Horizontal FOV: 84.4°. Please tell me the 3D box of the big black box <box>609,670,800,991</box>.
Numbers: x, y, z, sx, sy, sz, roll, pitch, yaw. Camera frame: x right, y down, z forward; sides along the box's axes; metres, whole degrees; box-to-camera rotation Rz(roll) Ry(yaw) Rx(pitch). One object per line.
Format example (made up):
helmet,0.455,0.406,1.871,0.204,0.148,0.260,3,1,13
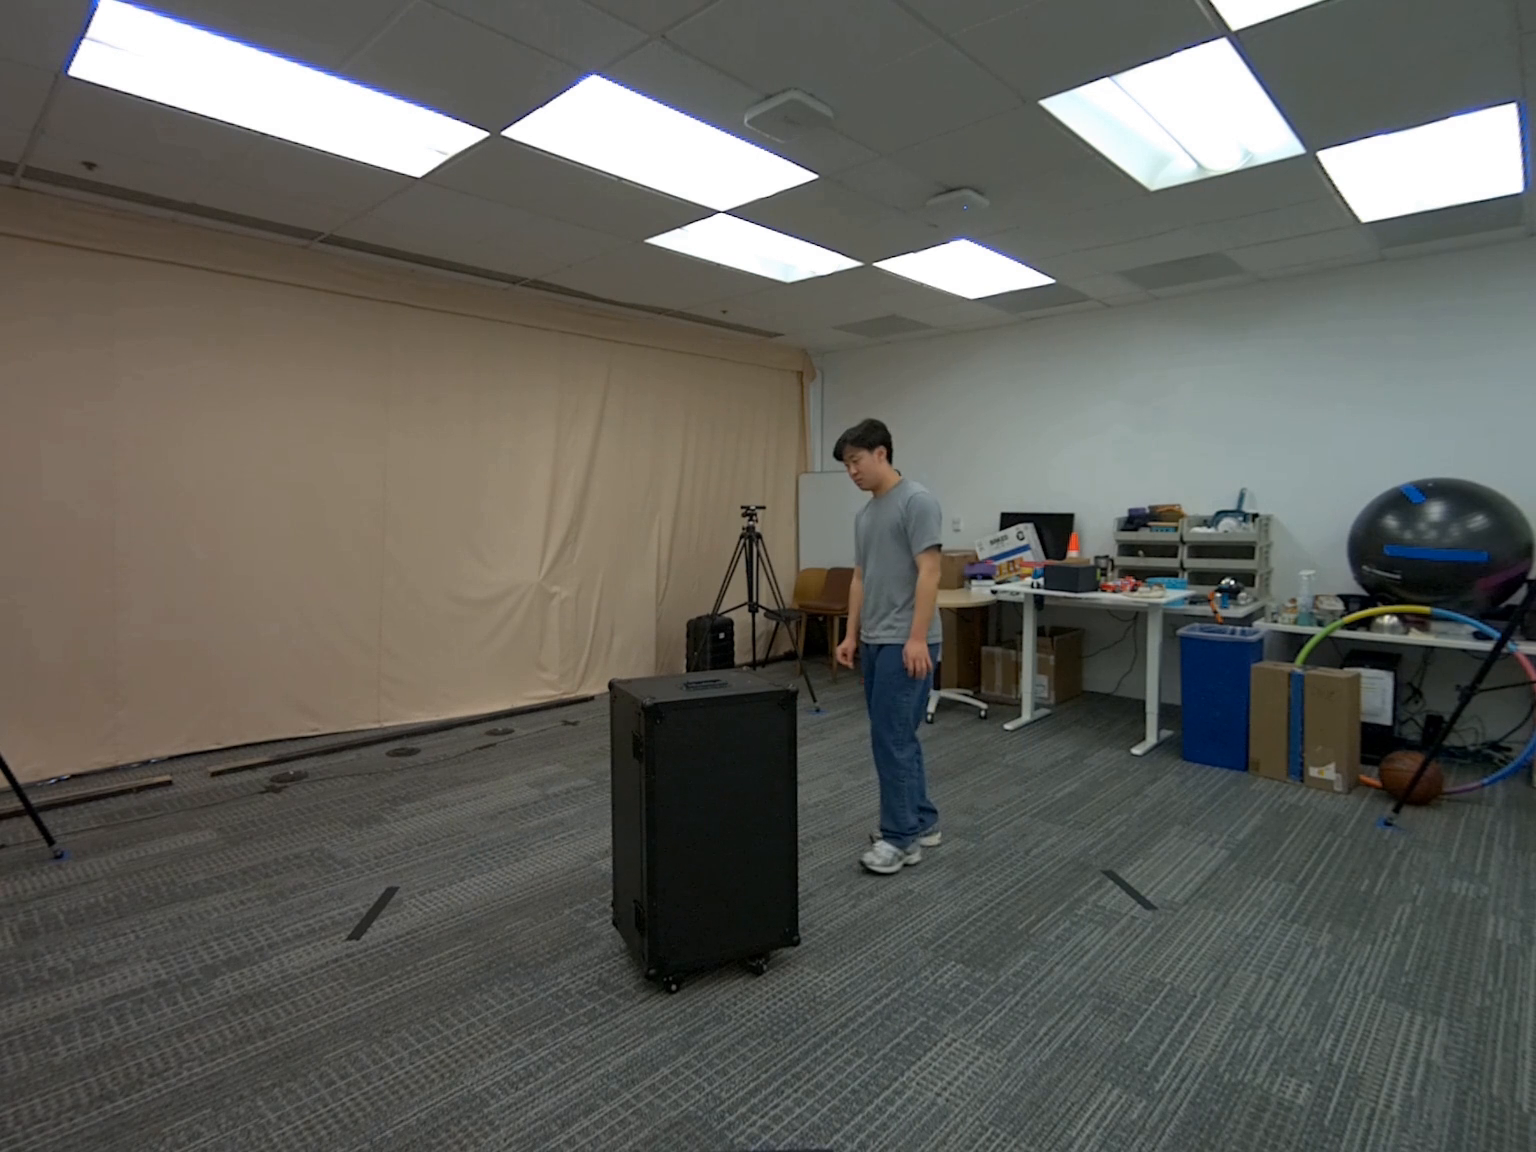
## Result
big black box,-0.207,0.752,2.589,0.509,0.860,0.406,-2,2,-25
